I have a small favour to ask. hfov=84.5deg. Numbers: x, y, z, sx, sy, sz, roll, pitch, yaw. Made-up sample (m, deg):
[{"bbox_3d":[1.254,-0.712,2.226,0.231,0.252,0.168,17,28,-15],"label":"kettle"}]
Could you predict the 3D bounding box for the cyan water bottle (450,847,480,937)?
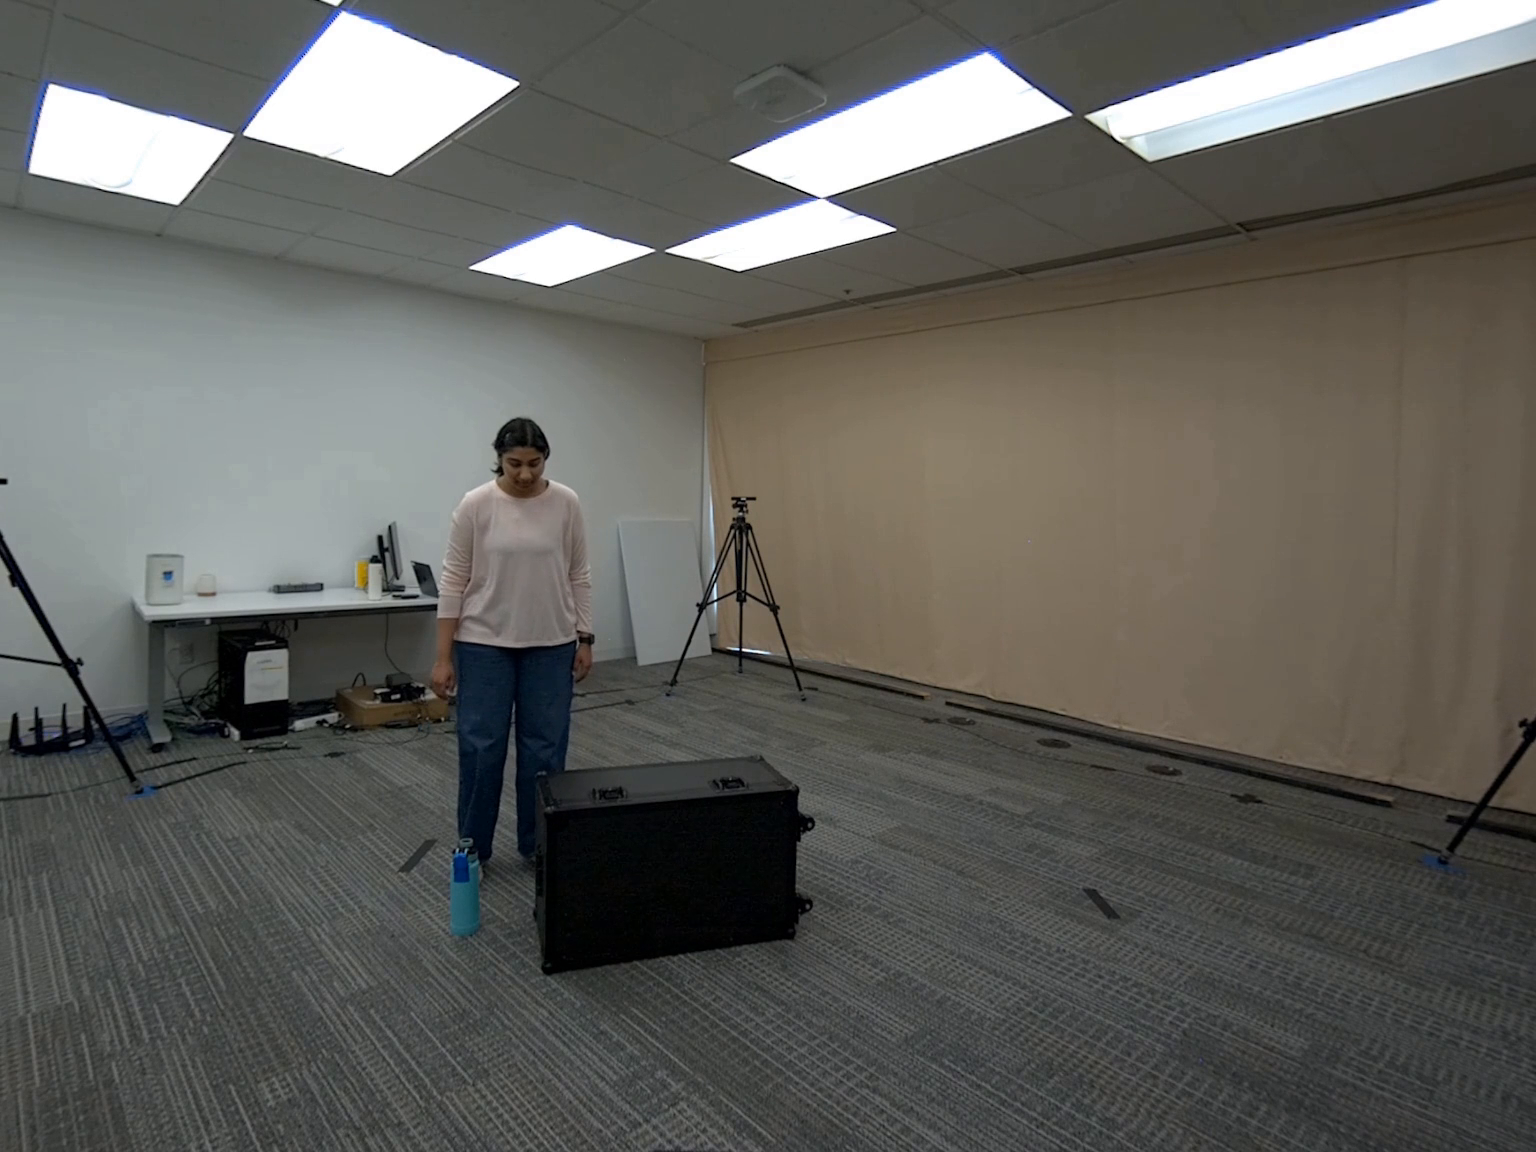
[{"bbox_3d":[-0.968,0.983,2.676,0.092,0.282,0.093,3,6,-2],"label":"cyan water bottle"}]
